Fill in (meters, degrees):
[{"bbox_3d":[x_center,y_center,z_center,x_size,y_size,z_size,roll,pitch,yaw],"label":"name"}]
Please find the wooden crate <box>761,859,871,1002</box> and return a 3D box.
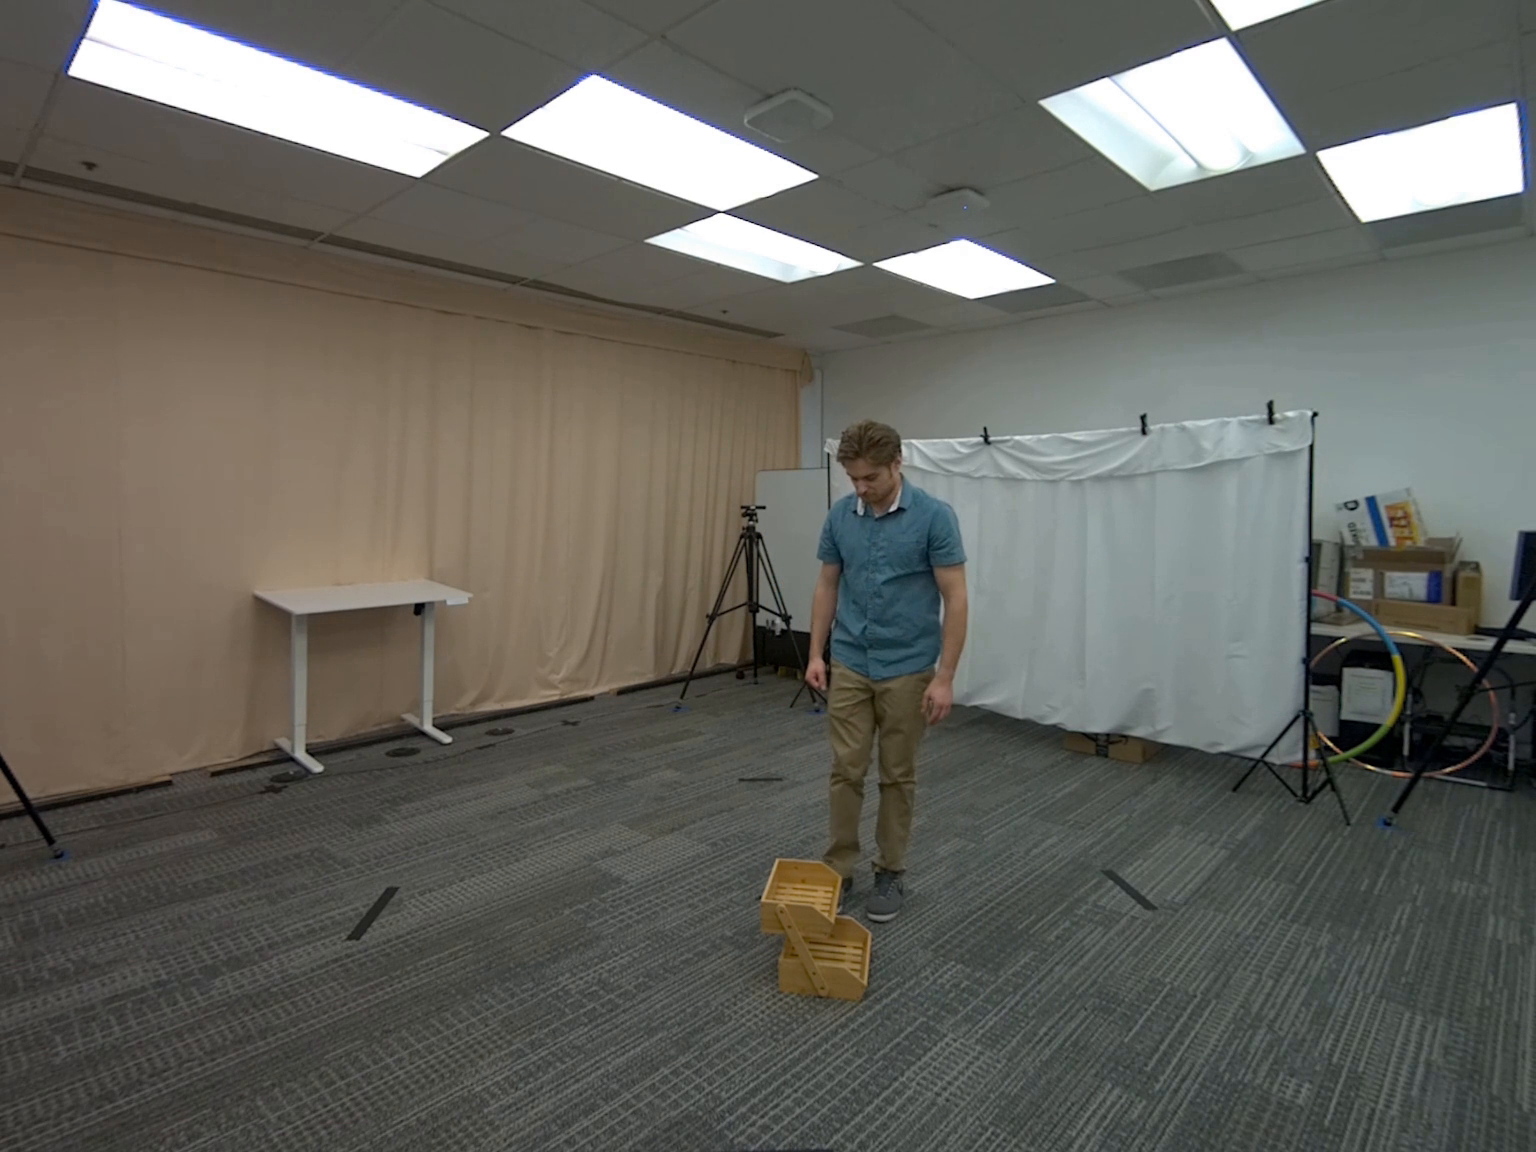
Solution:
[{"bbox_3d":[0.162,1.049,2.527,0.306,0.273,0.321,0,3,11],"label":"wooden crate"}]
